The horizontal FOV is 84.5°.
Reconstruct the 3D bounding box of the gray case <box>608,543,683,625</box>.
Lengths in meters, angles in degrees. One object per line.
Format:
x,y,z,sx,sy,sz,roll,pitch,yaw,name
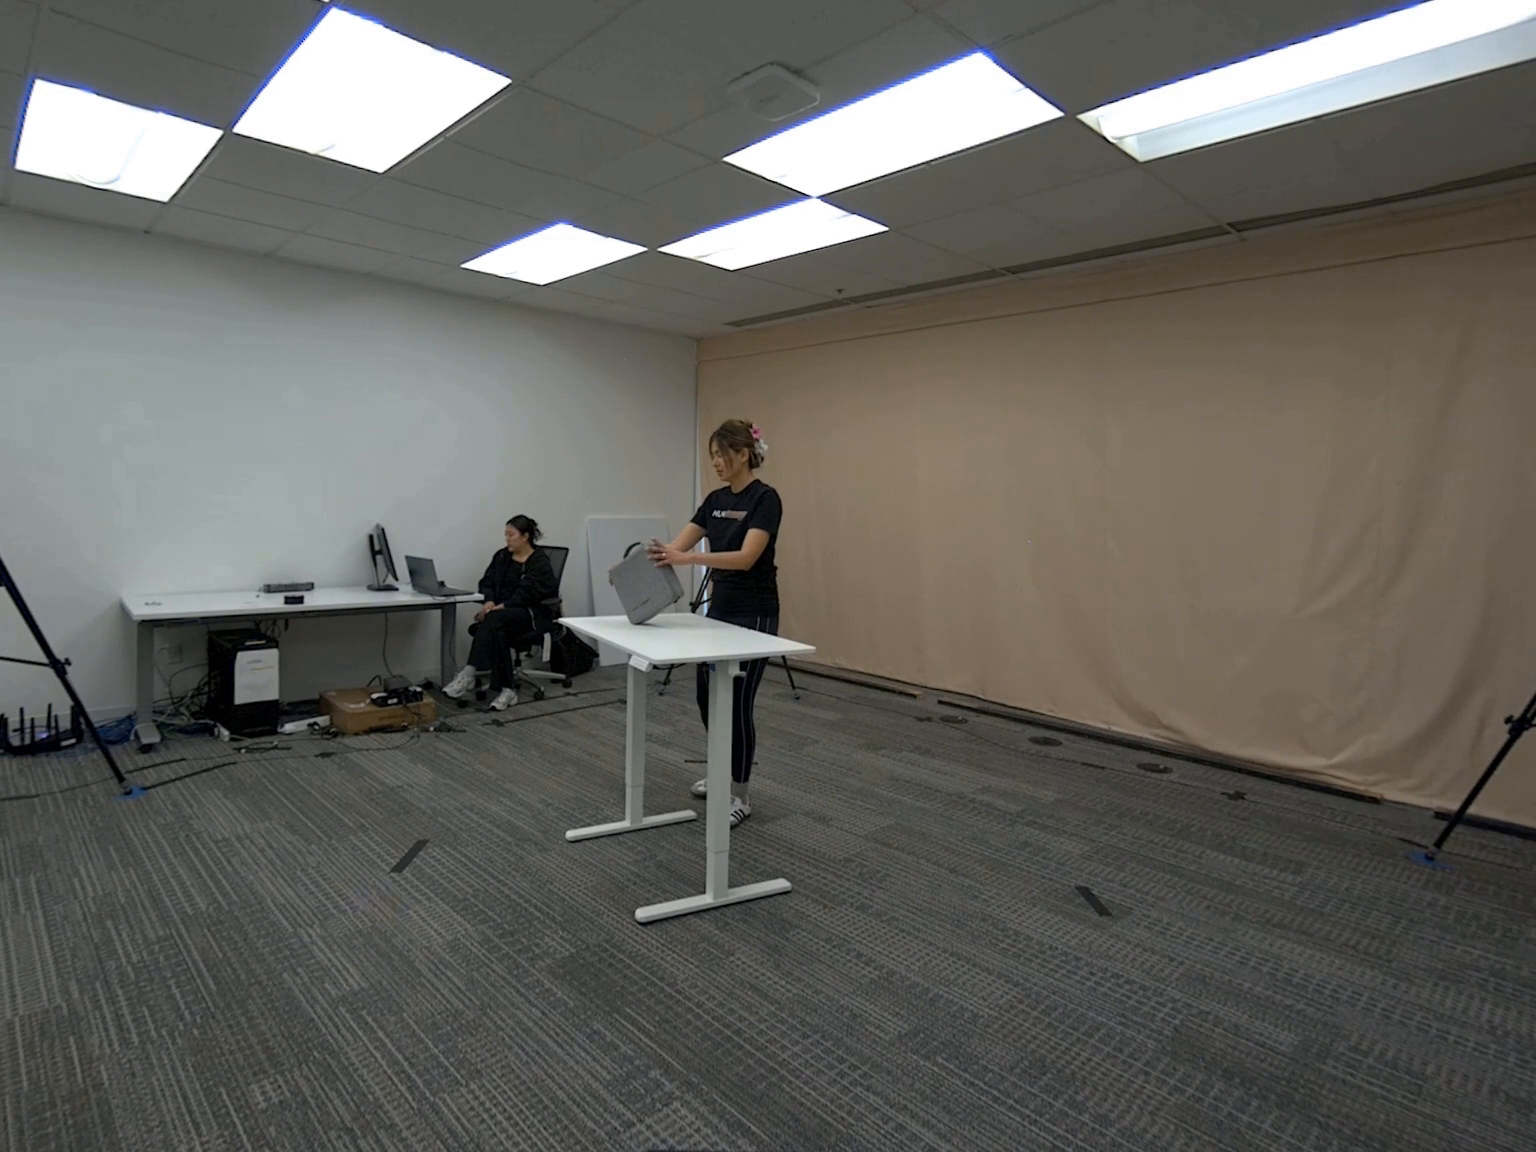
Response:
-0.495,0.034,3.321,0.259,0.264,0.102,-33,-14,33,gray case
